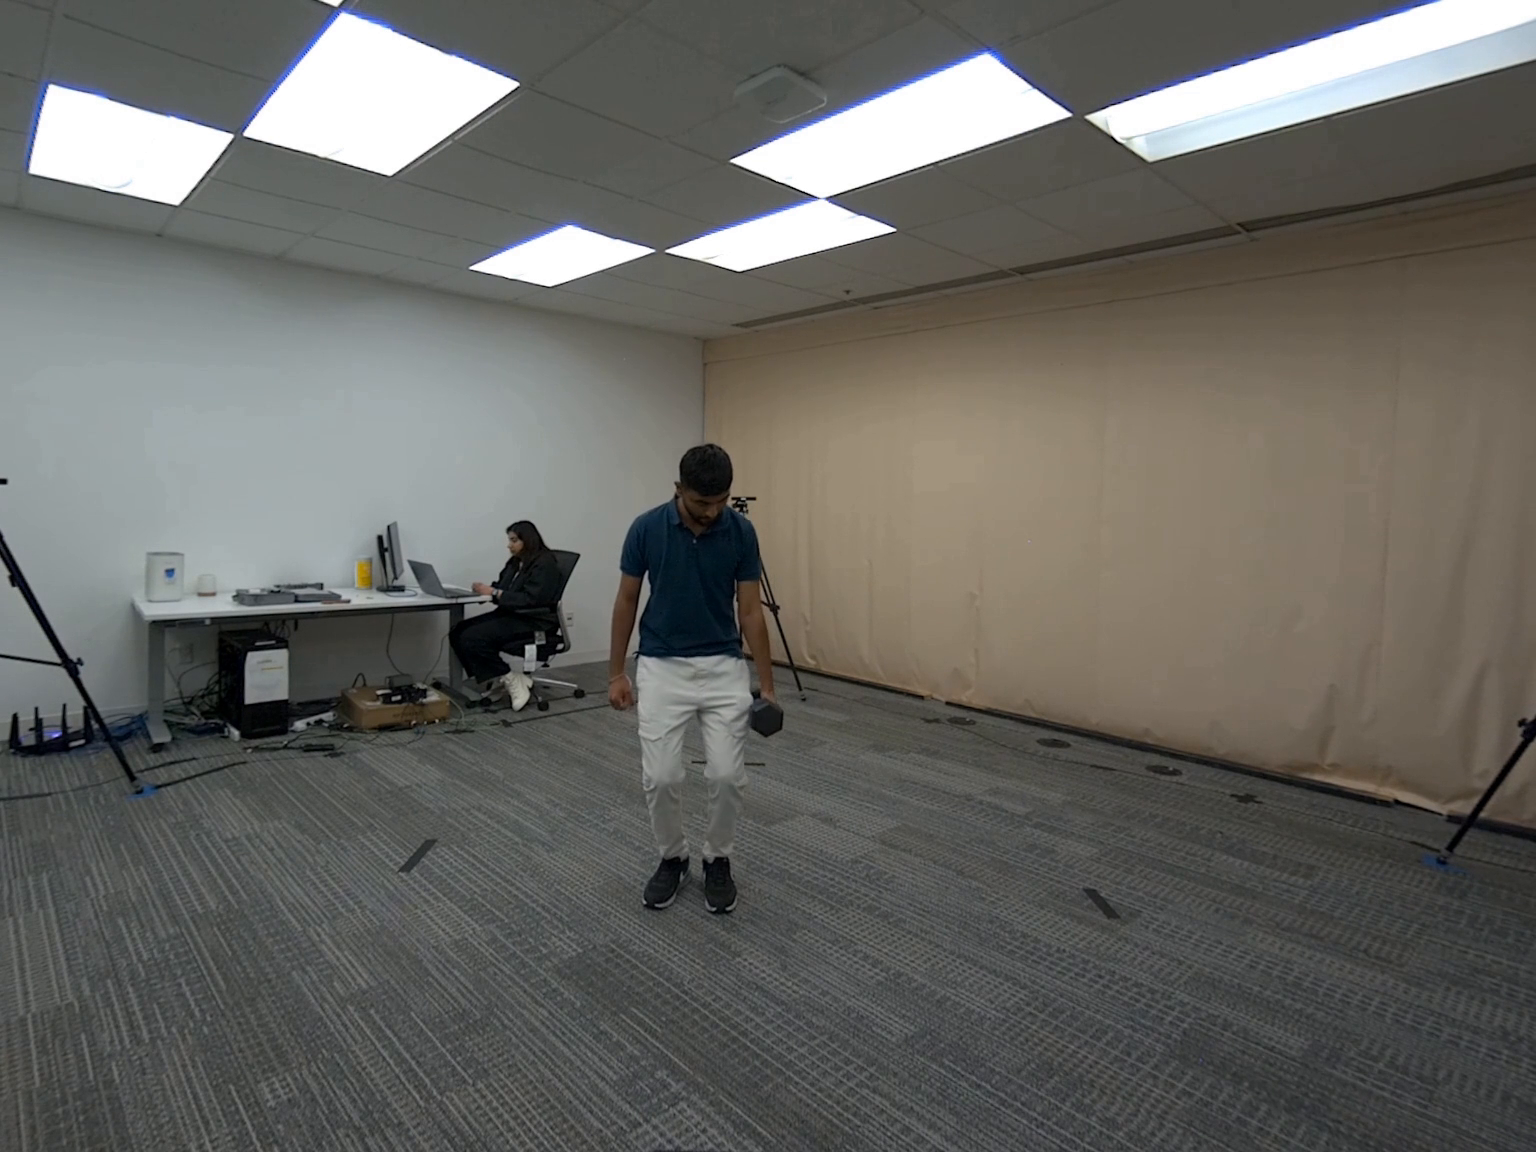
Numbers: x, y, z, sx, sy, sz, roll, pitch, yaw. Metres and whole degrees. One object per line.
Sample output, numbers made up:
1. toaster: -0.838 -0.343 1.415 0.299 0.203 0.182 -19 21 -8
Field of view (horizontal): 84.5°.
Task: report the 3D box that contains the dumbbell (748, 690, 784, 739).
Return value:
1. dumbbell: -0.028 0.466 2.885 0.108 0.123 0.296 3 2 -9
